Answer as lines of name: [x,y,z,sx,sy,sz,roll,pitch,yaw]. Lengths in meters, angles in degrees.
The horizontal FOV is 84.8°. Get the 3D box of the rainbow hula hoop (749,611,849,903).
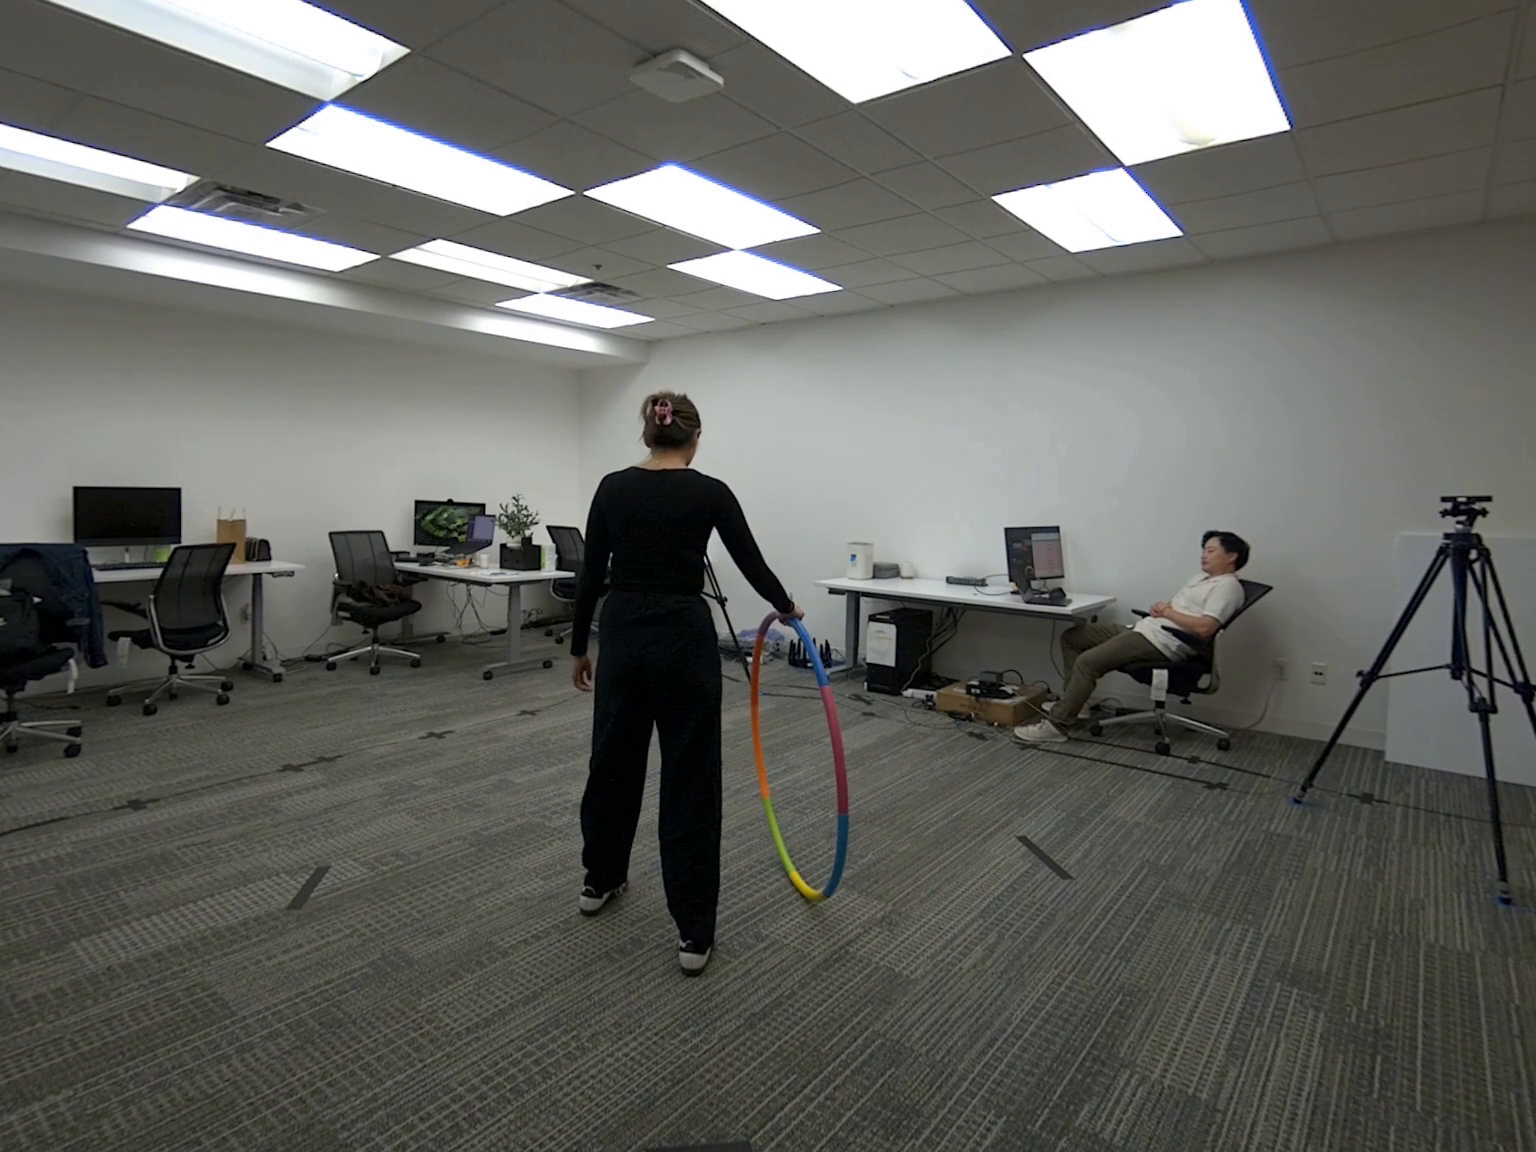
rainbow hula hoop: [0.070,0.597,2.960,0.035,0.974,0.997,-4,5,-15]
